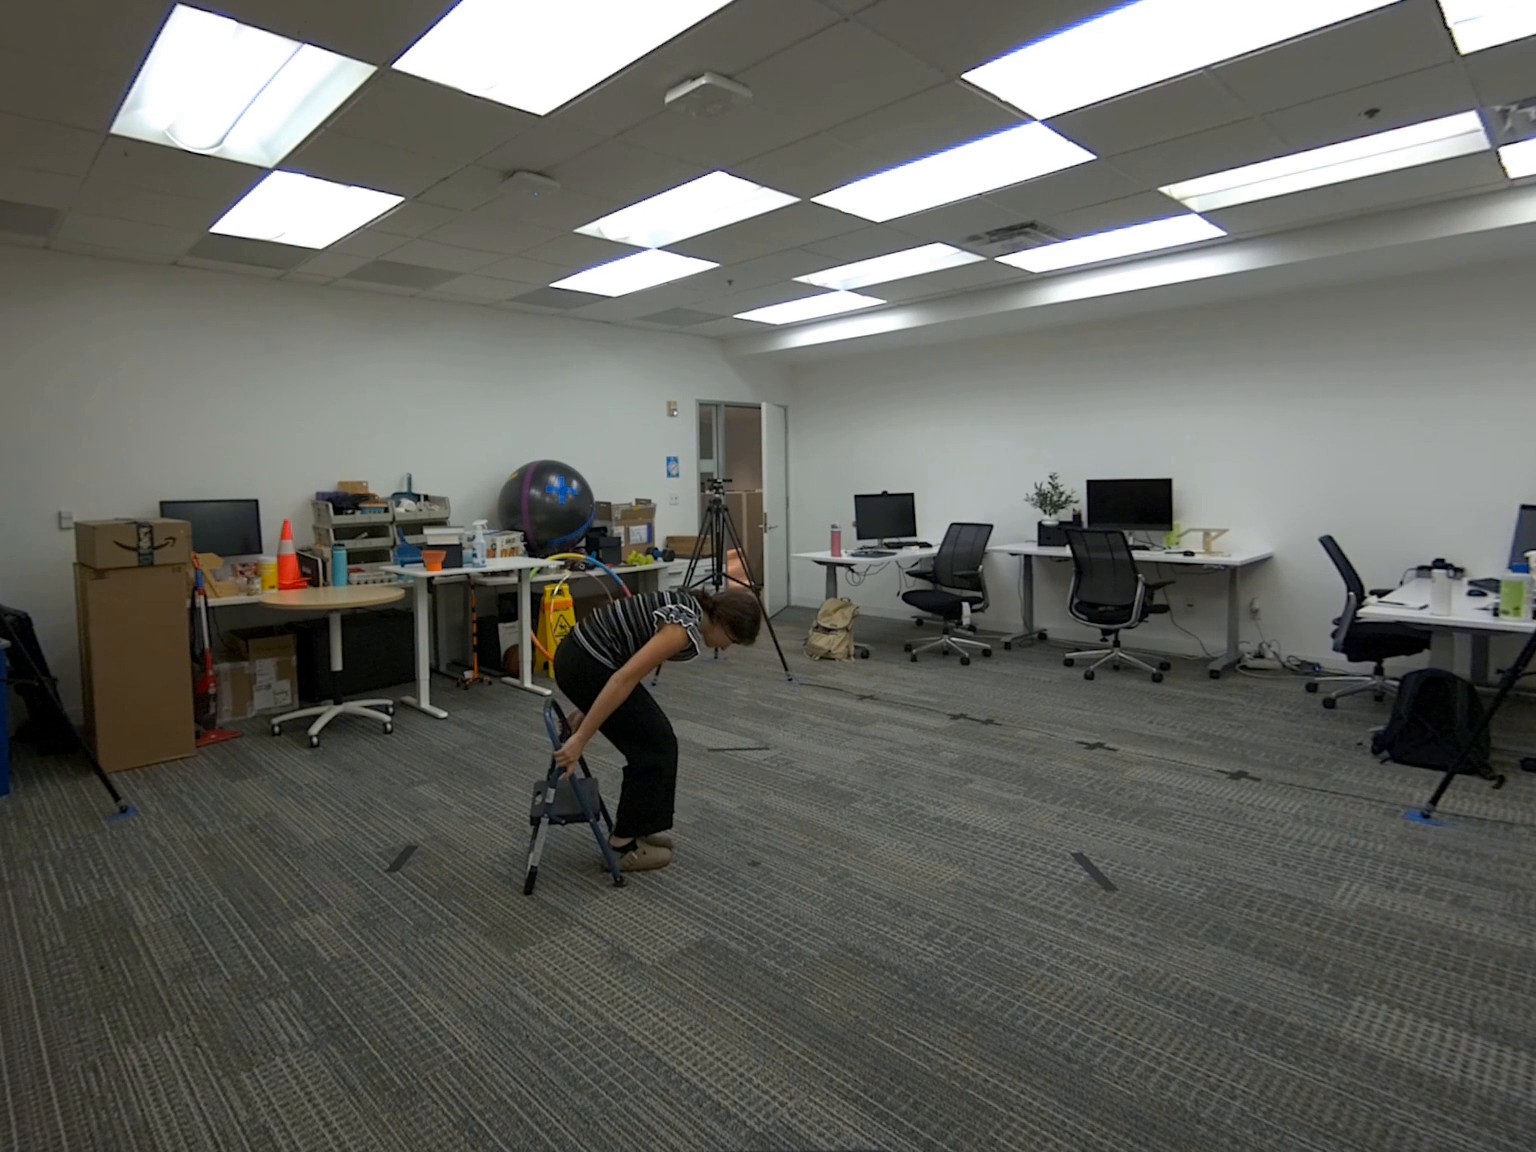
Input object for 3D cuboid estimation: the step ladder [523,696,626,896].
[{"bbox_3d":[-0.711,0.757,3.109,0.346,0.604,0.437,-2,4,-12],"label":"step ladder"}]
